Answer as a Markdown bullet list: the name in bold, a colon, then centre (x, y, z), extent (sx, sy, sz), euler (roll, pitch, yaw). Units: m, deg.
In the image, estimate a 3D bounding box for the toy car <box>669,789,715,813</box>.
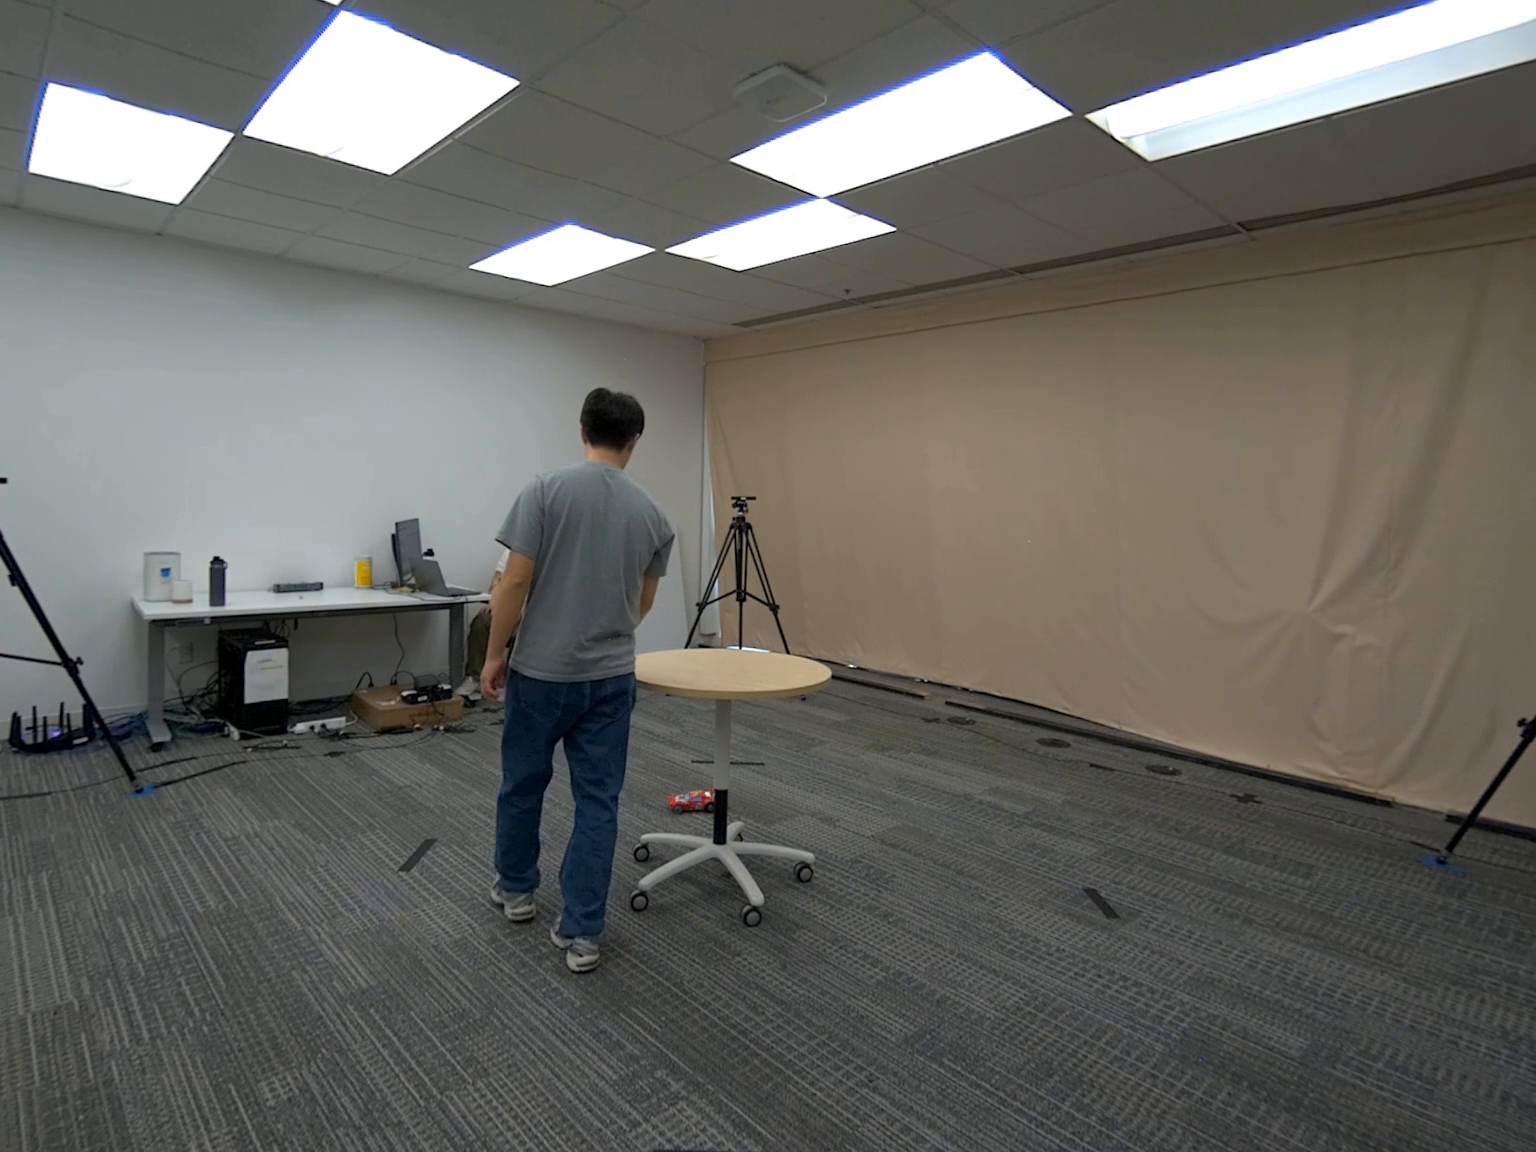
- **toy car**: centre (-0.323, 1.012, 3.770), extent (0.253, 0.083, 0.132), euler (-11, 7, -9)
